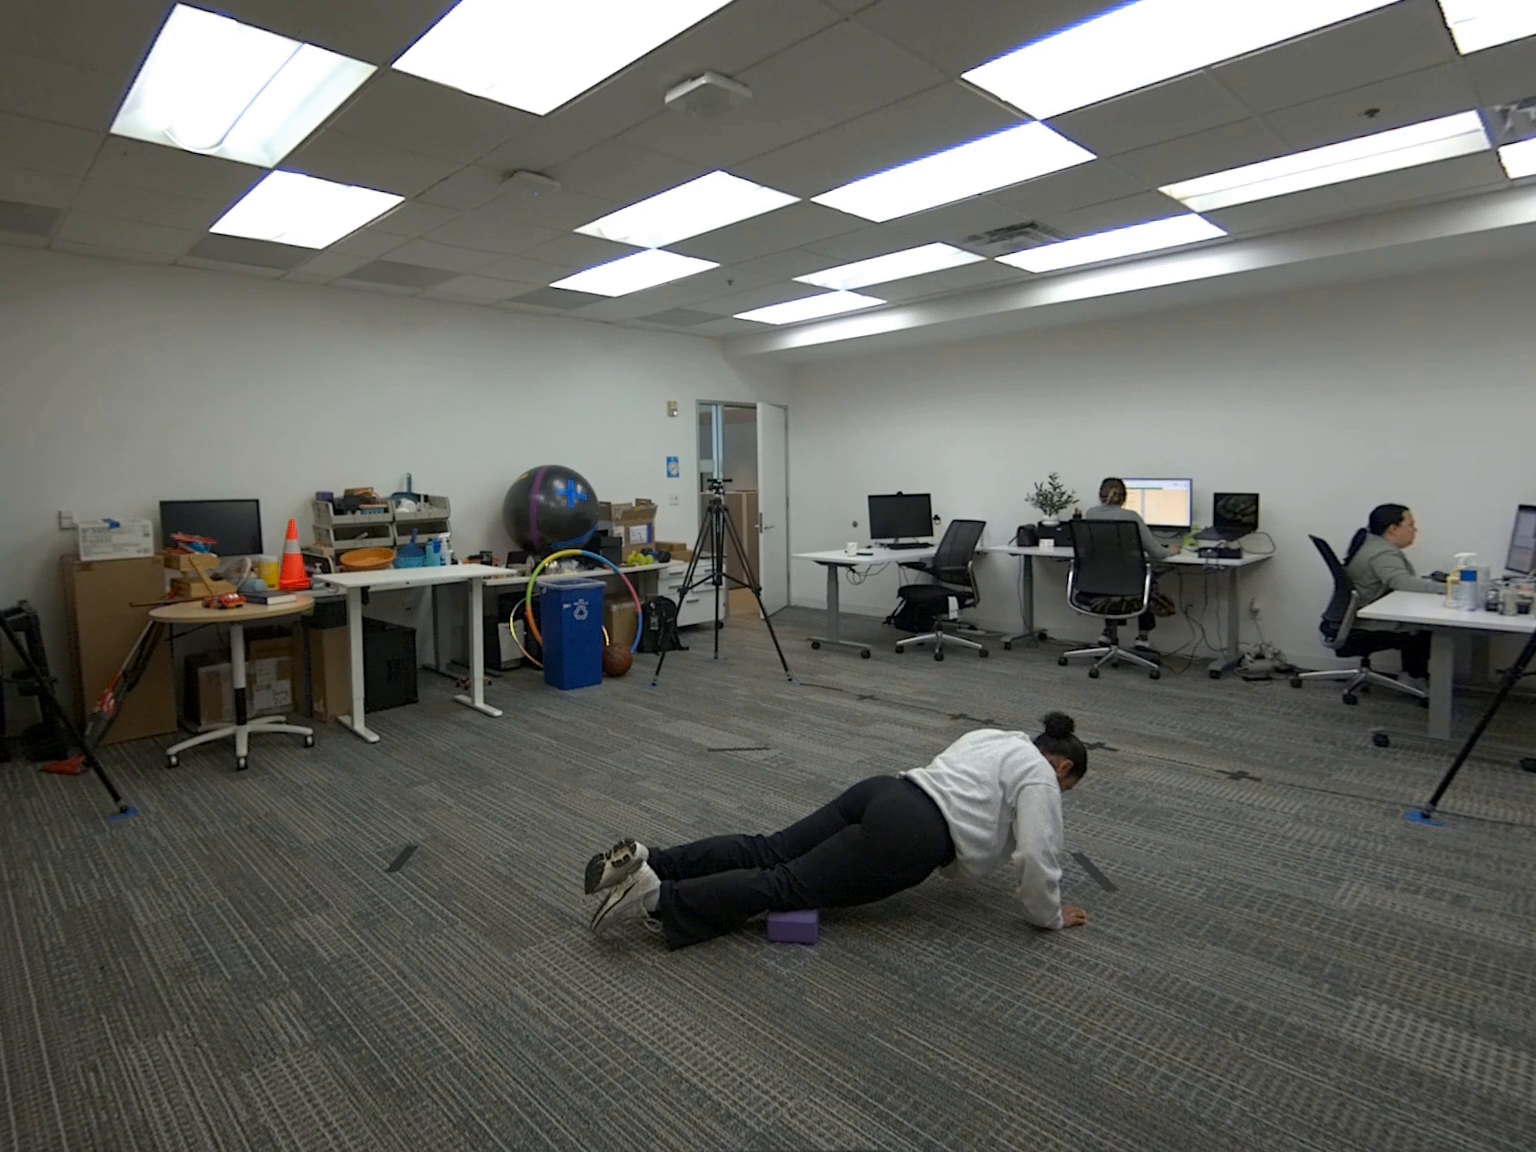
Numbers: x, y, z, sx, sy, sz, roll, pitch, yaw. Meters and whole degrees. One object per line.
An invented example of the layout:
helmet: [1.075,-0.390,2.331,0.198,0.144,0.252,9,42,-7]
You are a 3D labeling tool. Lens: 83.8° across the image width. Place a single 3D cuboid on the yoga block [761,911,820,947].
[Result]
yoga block: [0.076,1.047,2.678,0.150,0.076,0.229,-1,8,8]
